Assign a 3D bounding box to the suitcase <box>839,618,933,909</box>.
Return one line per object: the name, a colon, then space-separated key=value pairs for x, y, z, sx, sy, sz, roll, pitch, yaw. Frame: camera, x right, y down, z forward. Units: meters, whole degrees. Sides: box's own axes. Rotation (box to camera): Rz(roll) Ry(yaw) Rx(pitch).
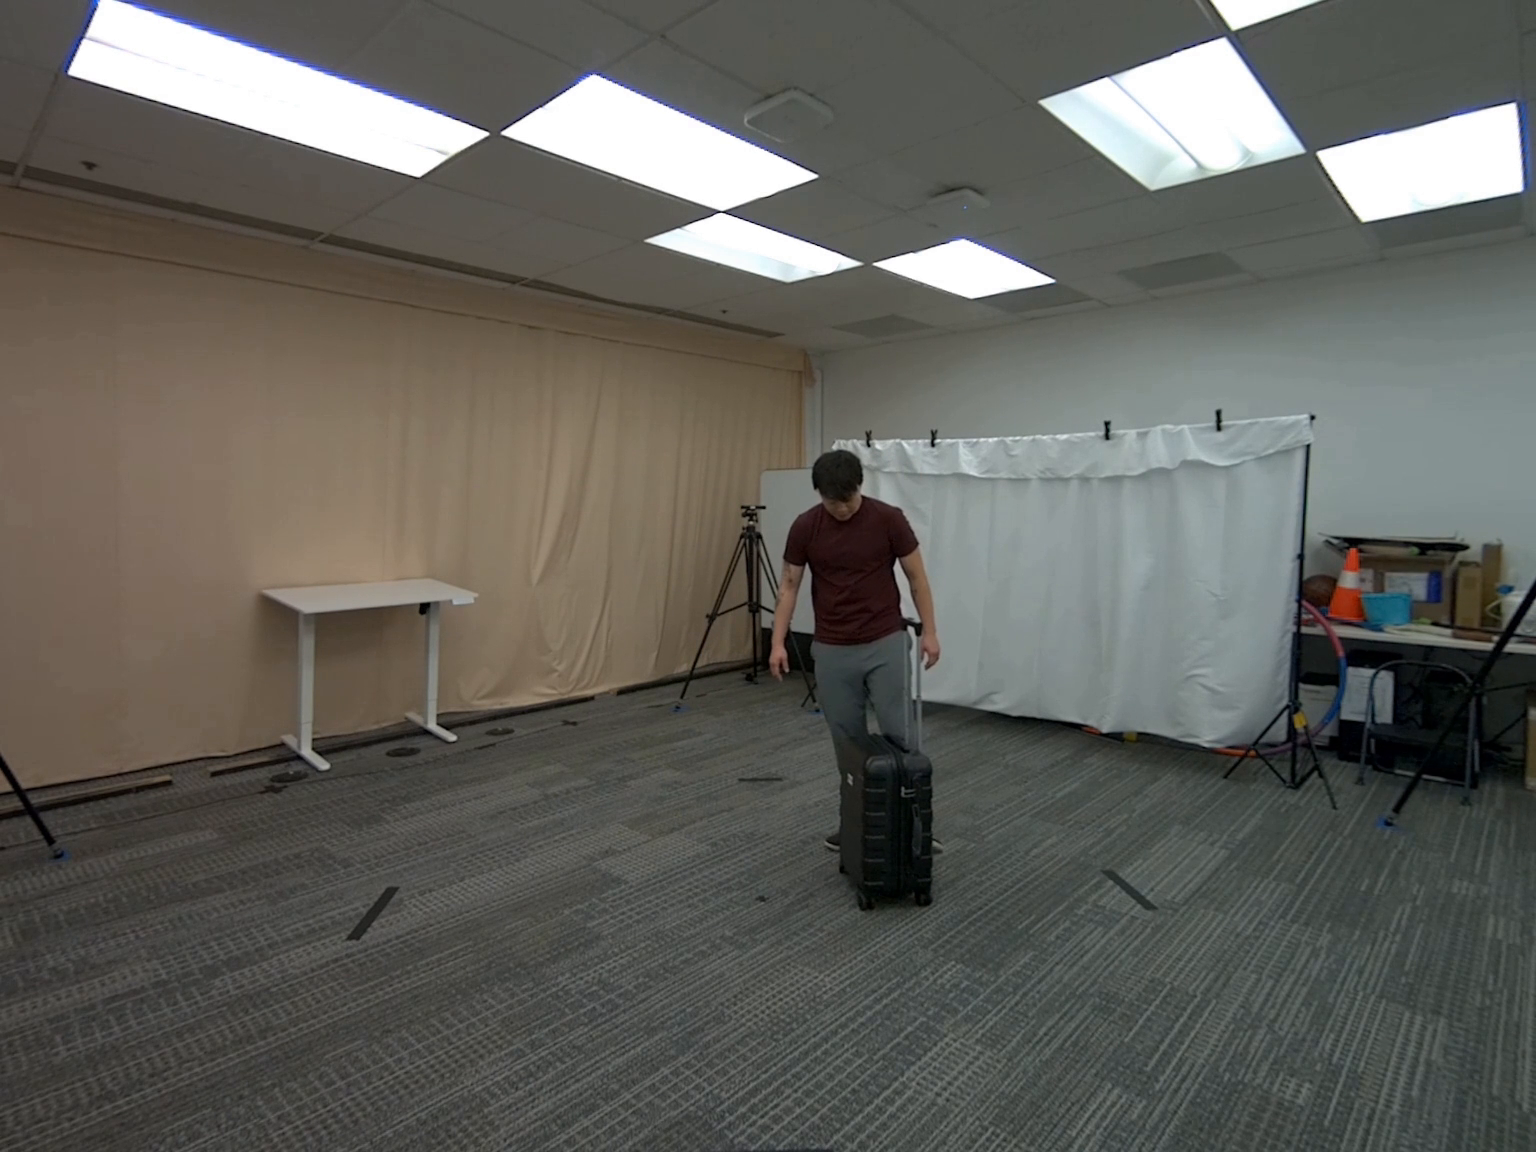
suitcase: x=0.418 y=0.663 z=3.020 sx=0.255 sy=0.977 sz=0.388 roll=-1 pitch=3 yaw=-8
